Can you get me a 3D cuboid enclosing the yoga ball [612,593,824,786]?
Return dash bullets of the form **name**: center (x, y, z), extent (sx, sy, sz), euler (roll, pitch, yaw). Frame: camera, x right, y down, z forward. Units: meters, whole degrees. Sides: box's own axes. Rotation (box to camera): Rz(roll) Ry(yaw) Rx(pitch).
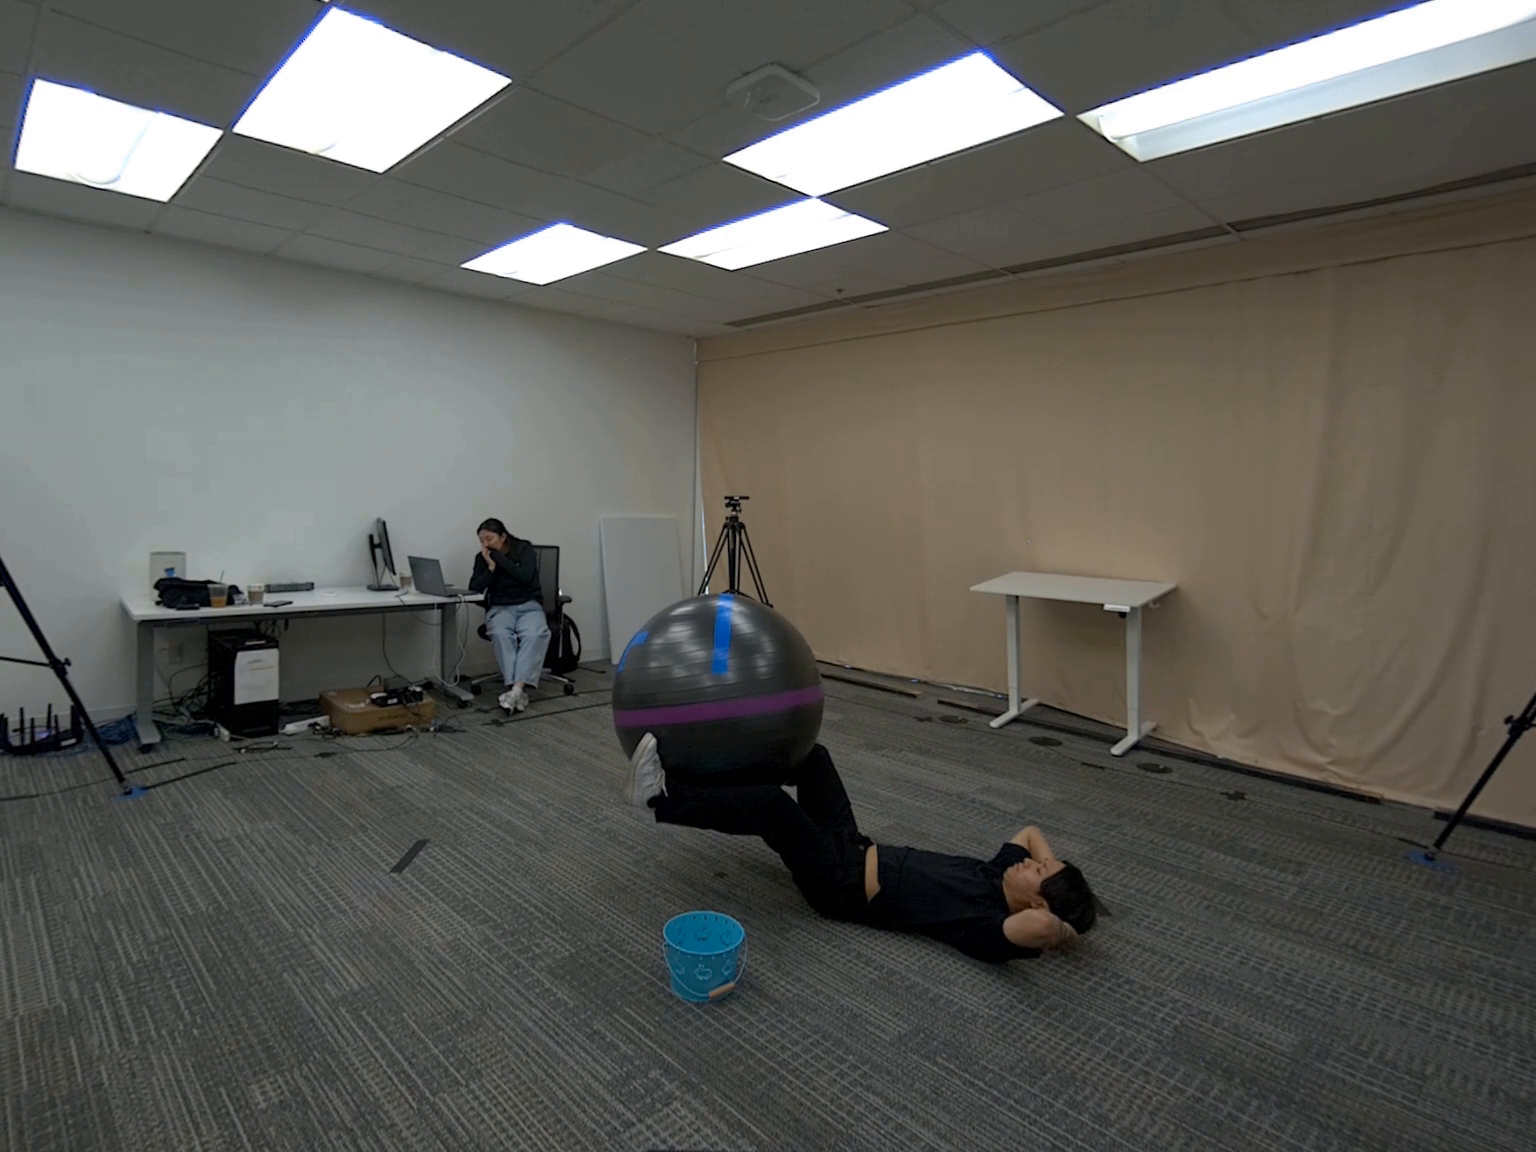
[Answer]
- **yoga ball**: center (-0.182, 0.450, 3.043), extent (0.757, 0.756, 0.761), euler (1, 4, -1)
